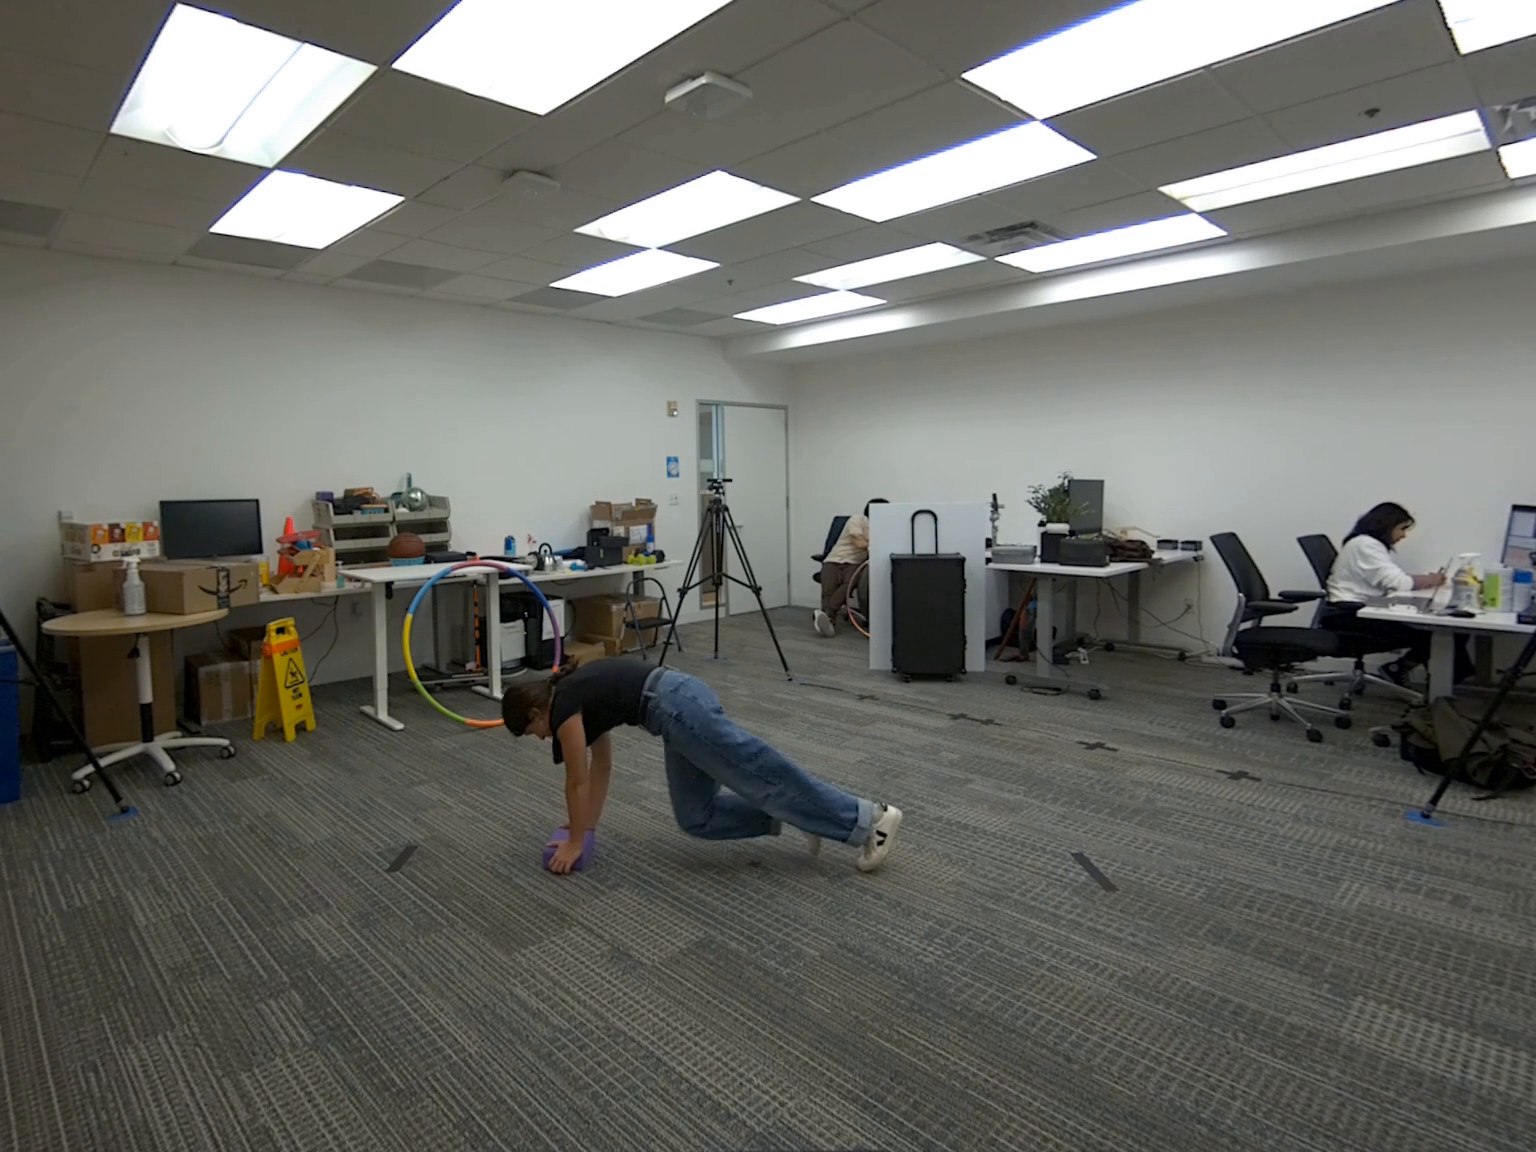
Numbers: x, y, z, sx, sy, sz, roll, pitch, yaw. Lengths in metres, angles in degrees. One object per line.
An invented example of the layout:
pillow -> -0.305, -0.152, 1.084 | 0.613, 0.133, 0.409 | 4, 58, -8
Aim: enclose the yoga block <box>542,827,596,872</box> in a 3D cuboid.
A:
yoga block -> -0.742, 1.012, 3.198 | 0.149, 0.076, 0.230 | 1, 8, 1
